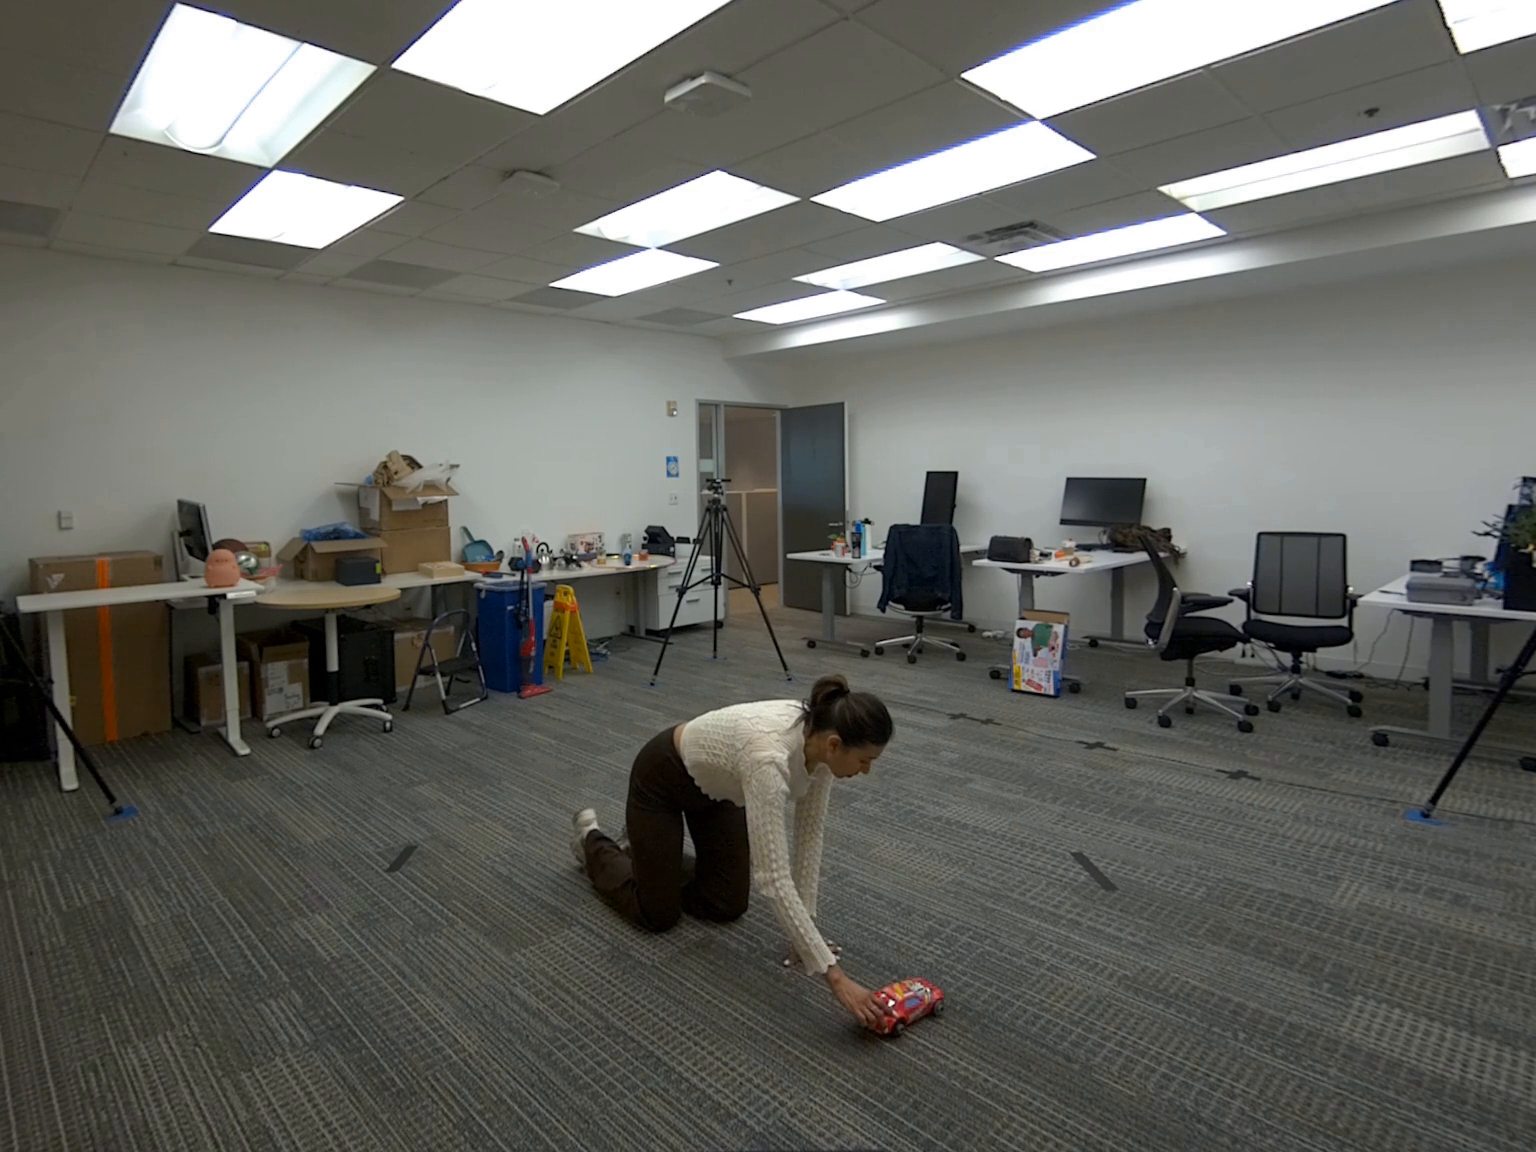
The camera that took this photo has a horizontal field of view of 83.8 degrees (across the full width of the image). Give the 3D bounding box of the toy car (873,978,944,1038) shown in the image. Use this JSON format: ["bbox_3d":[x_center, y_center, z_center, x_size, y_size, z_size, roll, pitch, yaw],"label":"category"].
[{"bbox_3d":[0.344,1.111,2.202,0.247,0.083,0.134,7,1,-36],"label":"toy car"}]
